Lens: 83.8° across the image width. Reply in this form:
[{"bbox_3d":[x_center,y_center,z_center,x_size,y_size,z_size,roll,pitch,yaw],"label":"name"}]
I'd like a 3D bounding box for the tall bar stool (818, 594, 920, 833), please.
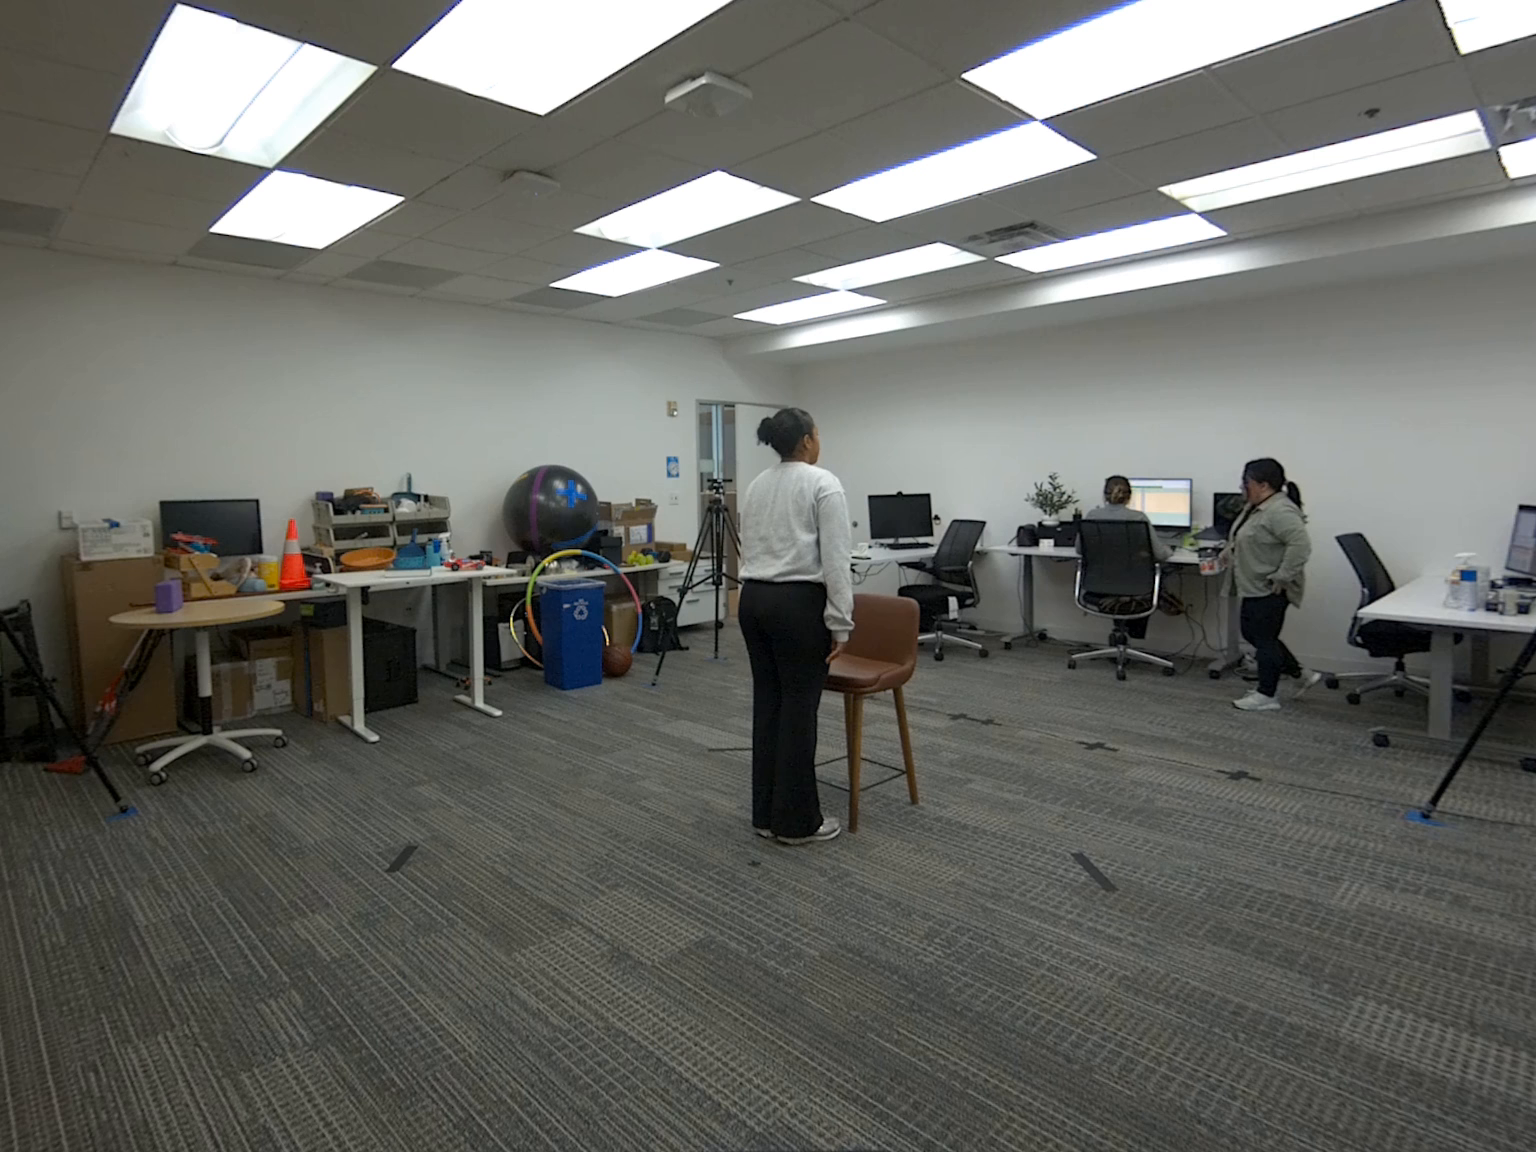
[{"bbox_3d":[0.356,0.539,3.629,0.454,0.887,0.471,-2,4,-42],"label":"tall bar stool"}]
